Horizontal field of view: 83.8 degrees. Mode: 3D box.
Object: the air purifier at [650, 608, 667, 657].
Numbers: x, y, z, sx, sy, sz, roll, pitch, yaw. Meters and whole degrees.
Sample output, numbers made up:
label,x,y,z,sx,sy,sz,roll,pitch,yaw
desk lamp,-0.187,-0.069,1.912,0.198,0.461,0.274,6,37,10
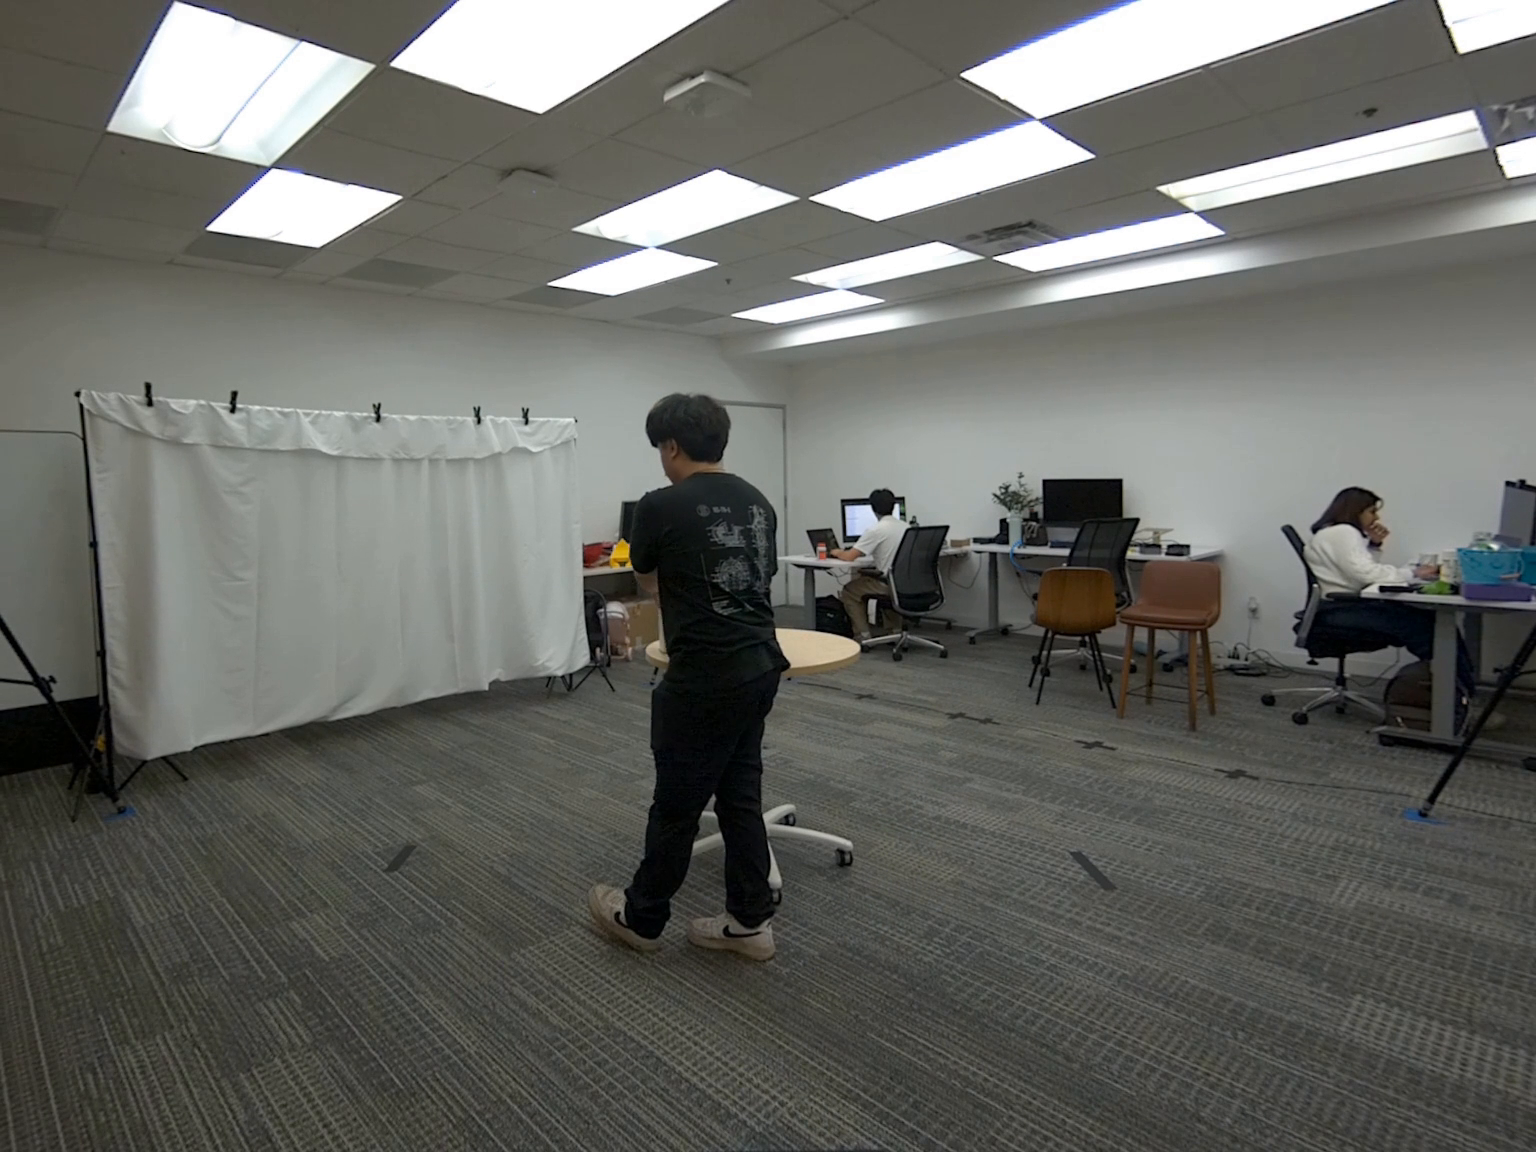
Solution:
label,x,y,z,sx,sy,sz,roll,pitch,yaw
air purifier,-0.288,0.132,3.031,0.169,0.265,0.174,-2,3,-12
